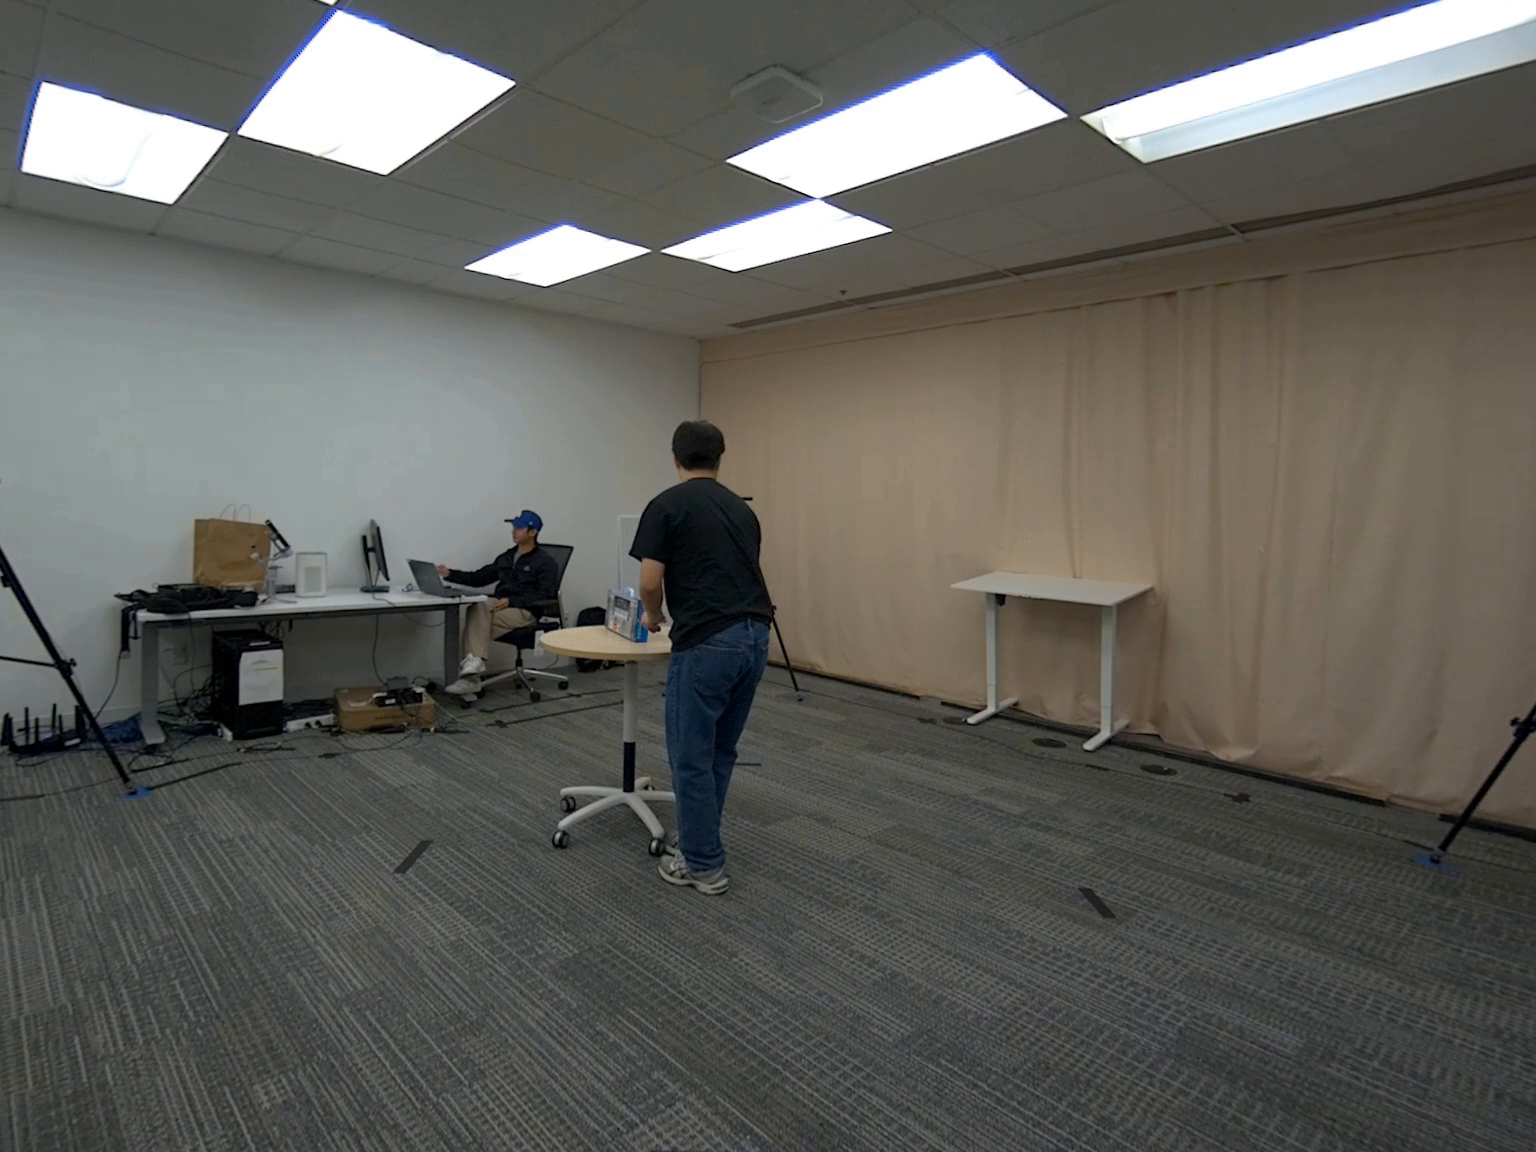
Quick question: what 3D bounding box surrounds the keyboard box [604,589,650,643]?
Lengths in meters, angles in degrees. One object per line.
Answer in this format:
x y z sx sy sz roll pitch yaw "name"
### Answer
-0.620 0.168 3.643 0.058 0.176 0.446 5 3 -26 "keyboard box"
